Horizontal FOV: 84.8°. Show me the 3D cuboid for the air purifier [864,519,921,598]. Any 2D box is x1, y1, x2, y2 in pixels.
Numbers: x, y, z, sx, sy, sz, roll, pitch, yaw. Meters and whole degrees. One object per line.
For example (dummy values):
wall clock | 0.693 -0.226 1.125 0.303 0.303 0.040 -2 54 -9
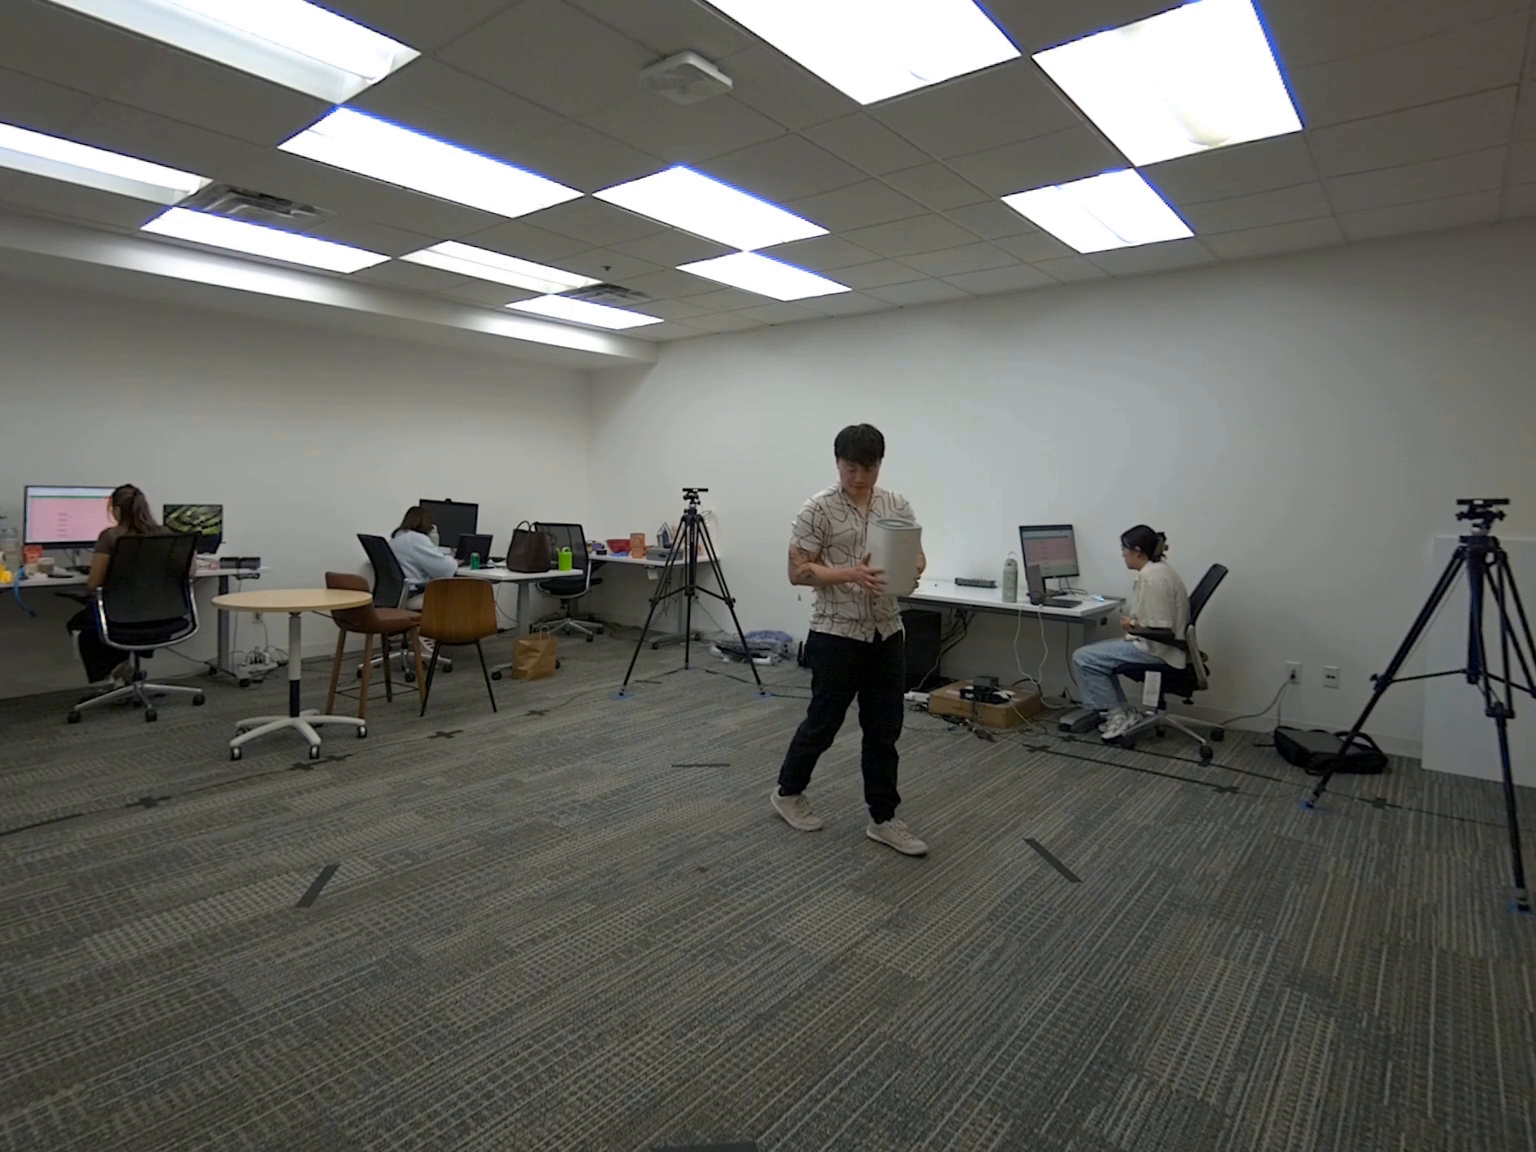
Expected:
air purifier | 0.455 -0.073 3.190 0.168 0.262 0.176 -1 15 -20
